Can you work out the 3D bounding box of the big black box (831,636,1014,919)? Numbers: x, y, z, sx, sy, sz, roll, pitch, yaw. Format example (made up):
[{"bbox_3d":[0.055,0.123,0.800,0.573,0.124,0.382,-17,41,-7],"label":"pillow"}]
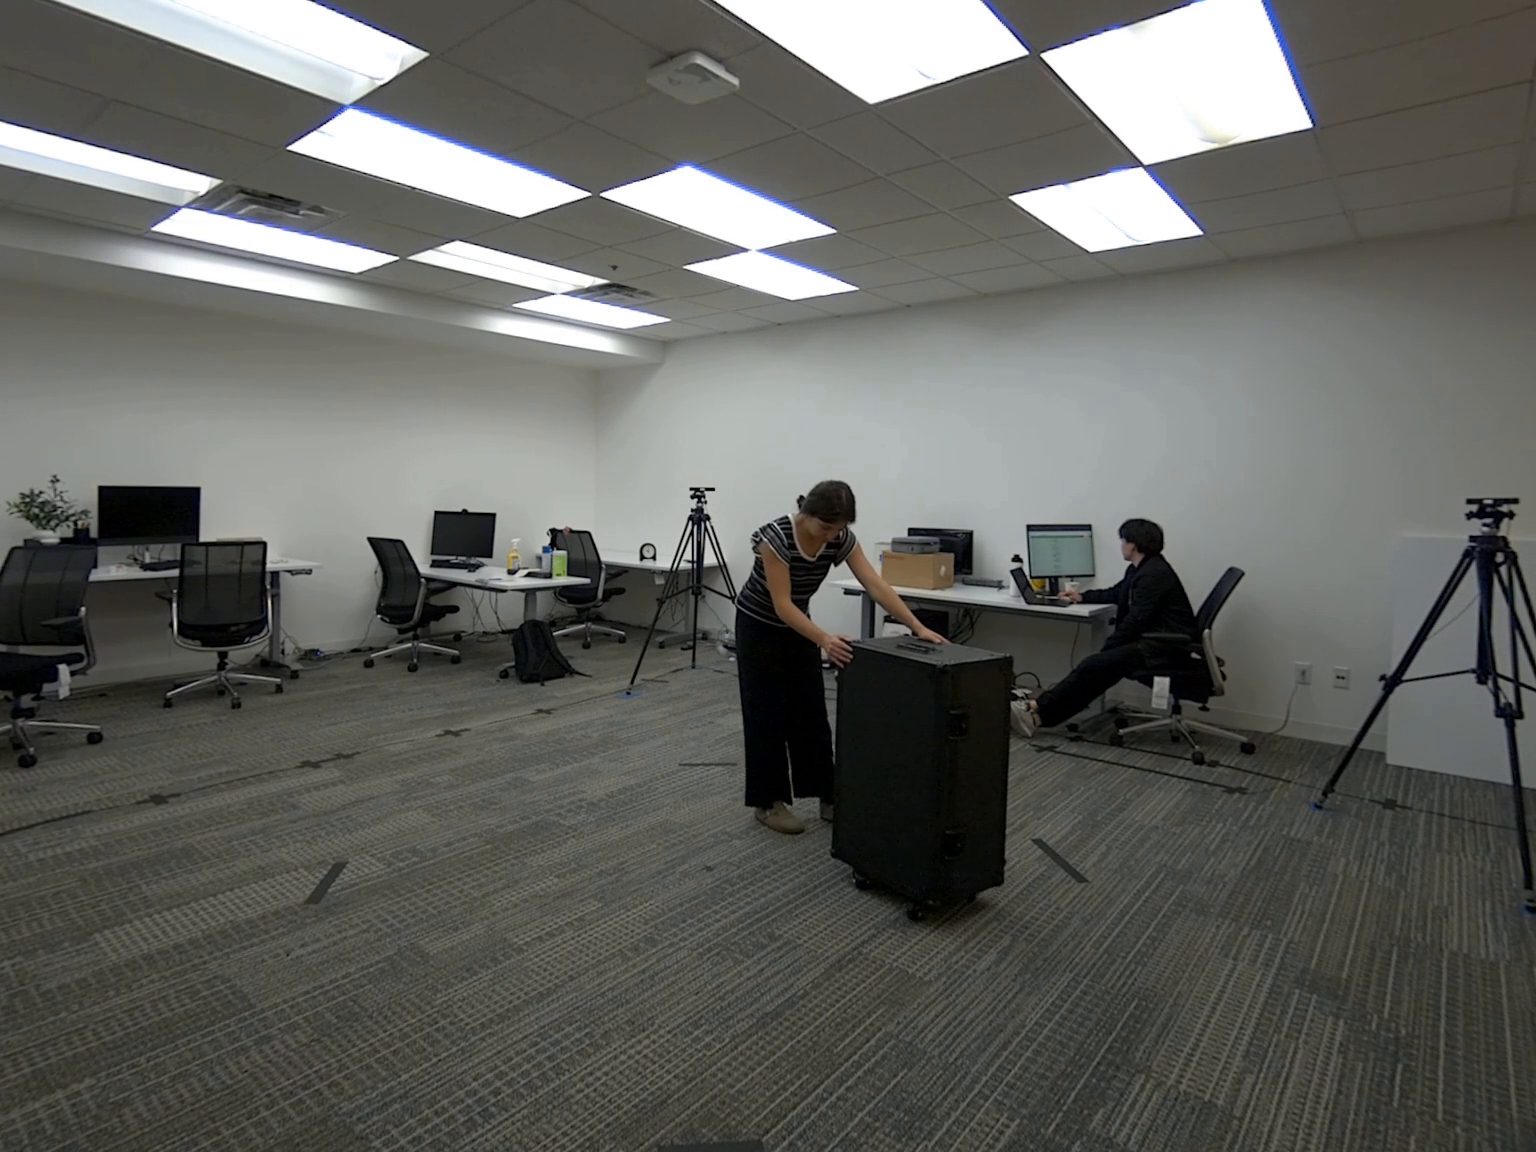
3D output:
[{"bbox_3d":[0.520,0.671,2.975,0.384,0.860,0.538,1,3,-37],"label":"big black box"}]
